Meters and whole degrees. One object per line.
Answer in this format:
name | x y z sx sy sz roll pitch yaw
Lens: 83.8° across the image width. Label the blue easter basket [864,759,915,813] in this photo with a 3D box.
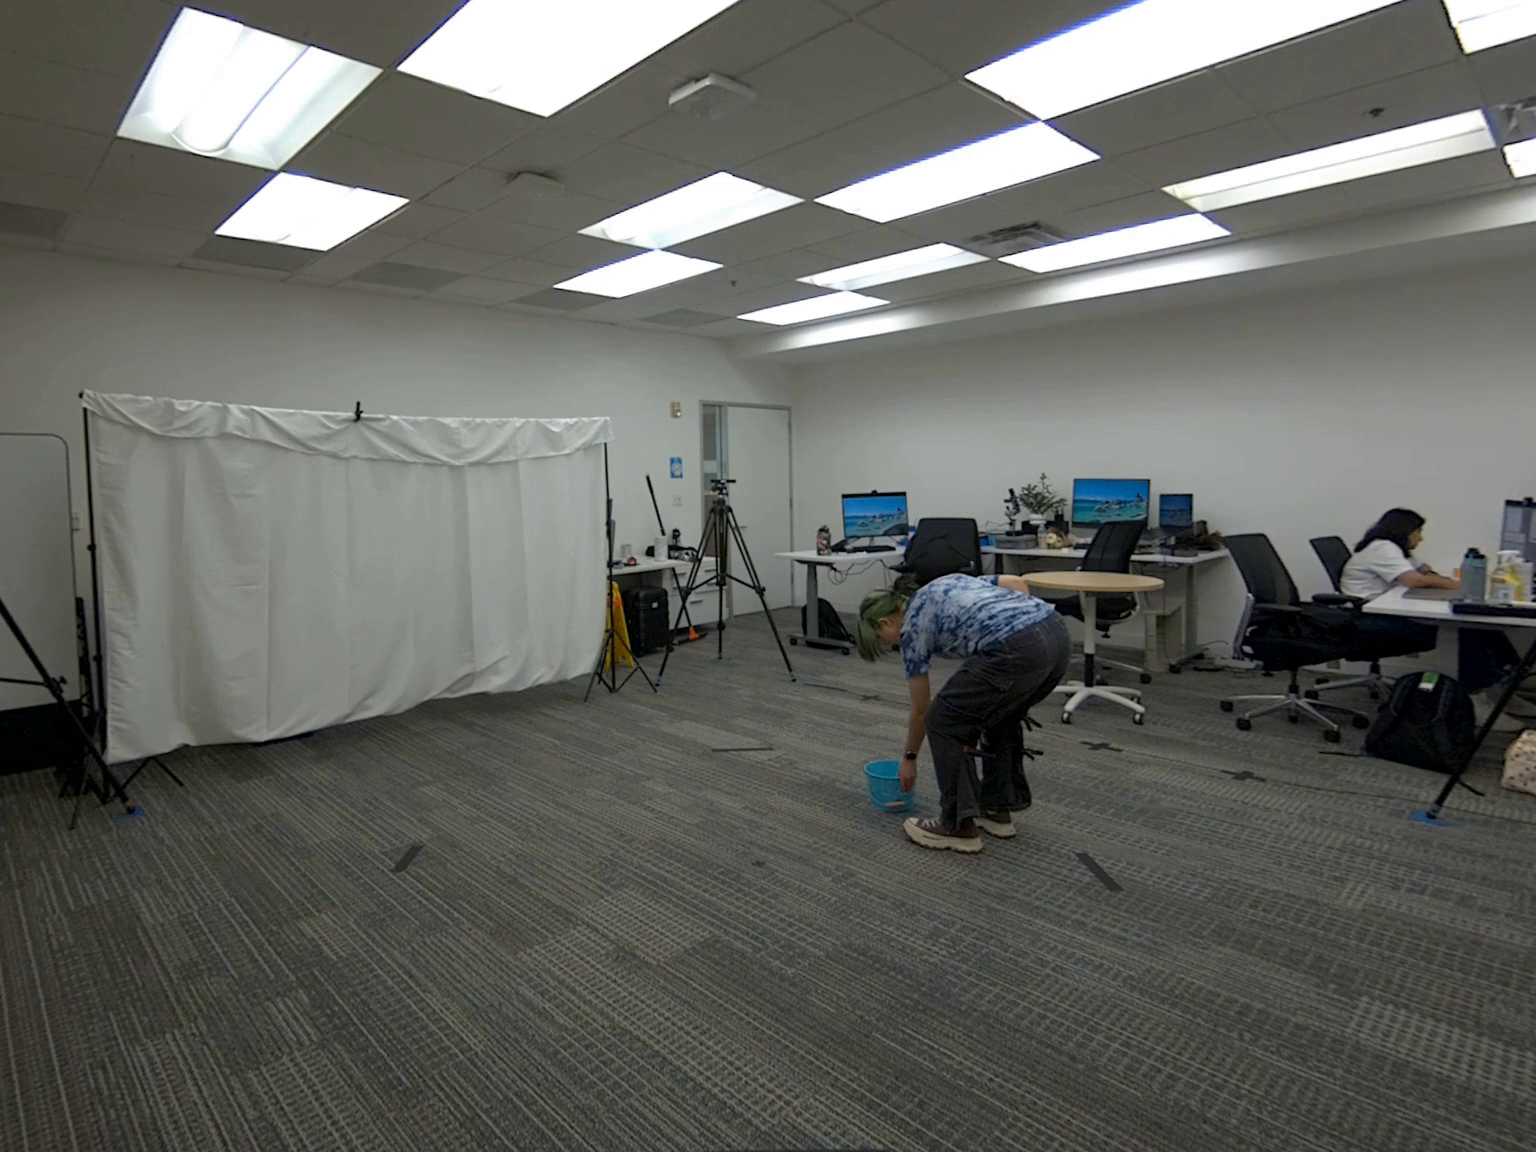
blue easter basket | 0.526 0.896 3.653 0.243 0.155 0.245 -3 5 -1
